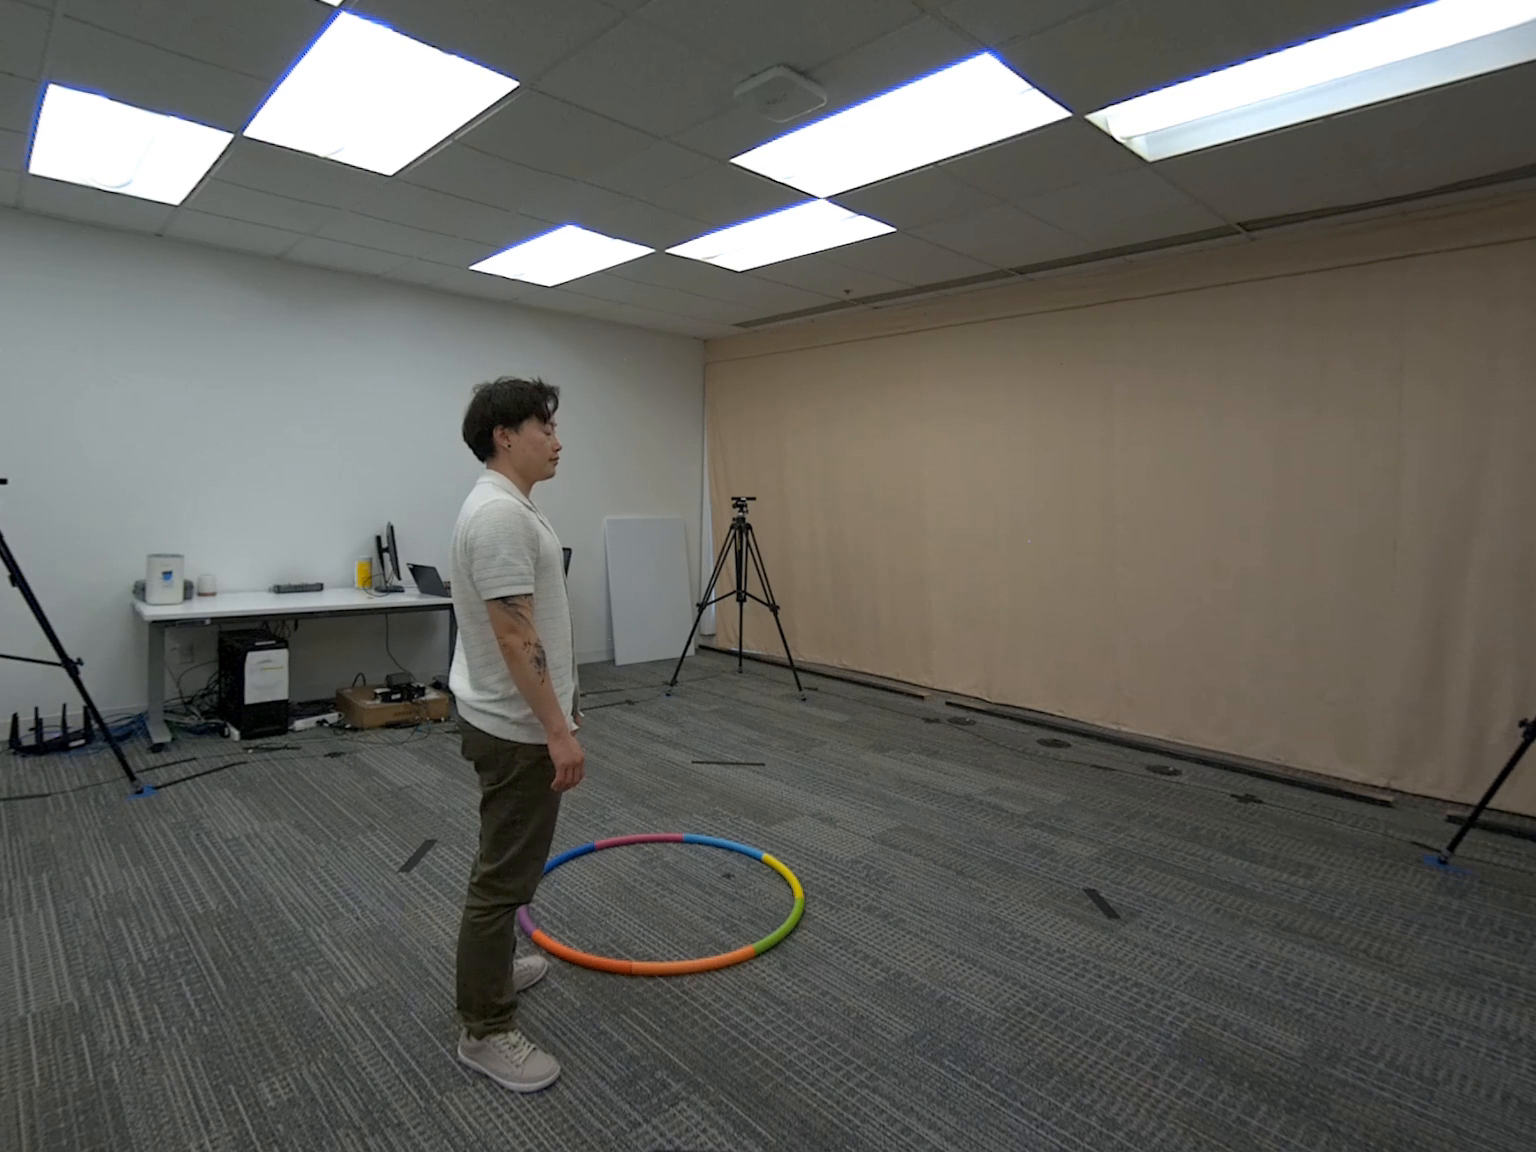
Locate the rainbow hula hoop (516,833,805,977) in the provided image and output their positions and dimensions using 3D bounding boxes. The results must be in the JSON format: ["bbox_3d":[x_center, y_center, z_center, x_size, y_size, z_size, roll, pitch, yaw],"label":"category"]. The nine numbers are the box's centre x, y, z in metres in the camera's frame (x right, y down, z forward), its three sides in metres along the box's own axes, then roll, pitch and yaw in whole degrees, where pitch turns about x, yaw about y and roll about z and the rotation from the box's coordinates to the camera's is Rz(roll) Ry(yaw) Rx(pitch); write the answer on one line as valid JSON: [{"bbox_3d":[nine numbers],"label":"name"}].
[{"bbox_3d":[-0.372,1.087,2.927,0.978,0.035,0.982,1,5,-1],"label":"rainbow hula hoop"}]
